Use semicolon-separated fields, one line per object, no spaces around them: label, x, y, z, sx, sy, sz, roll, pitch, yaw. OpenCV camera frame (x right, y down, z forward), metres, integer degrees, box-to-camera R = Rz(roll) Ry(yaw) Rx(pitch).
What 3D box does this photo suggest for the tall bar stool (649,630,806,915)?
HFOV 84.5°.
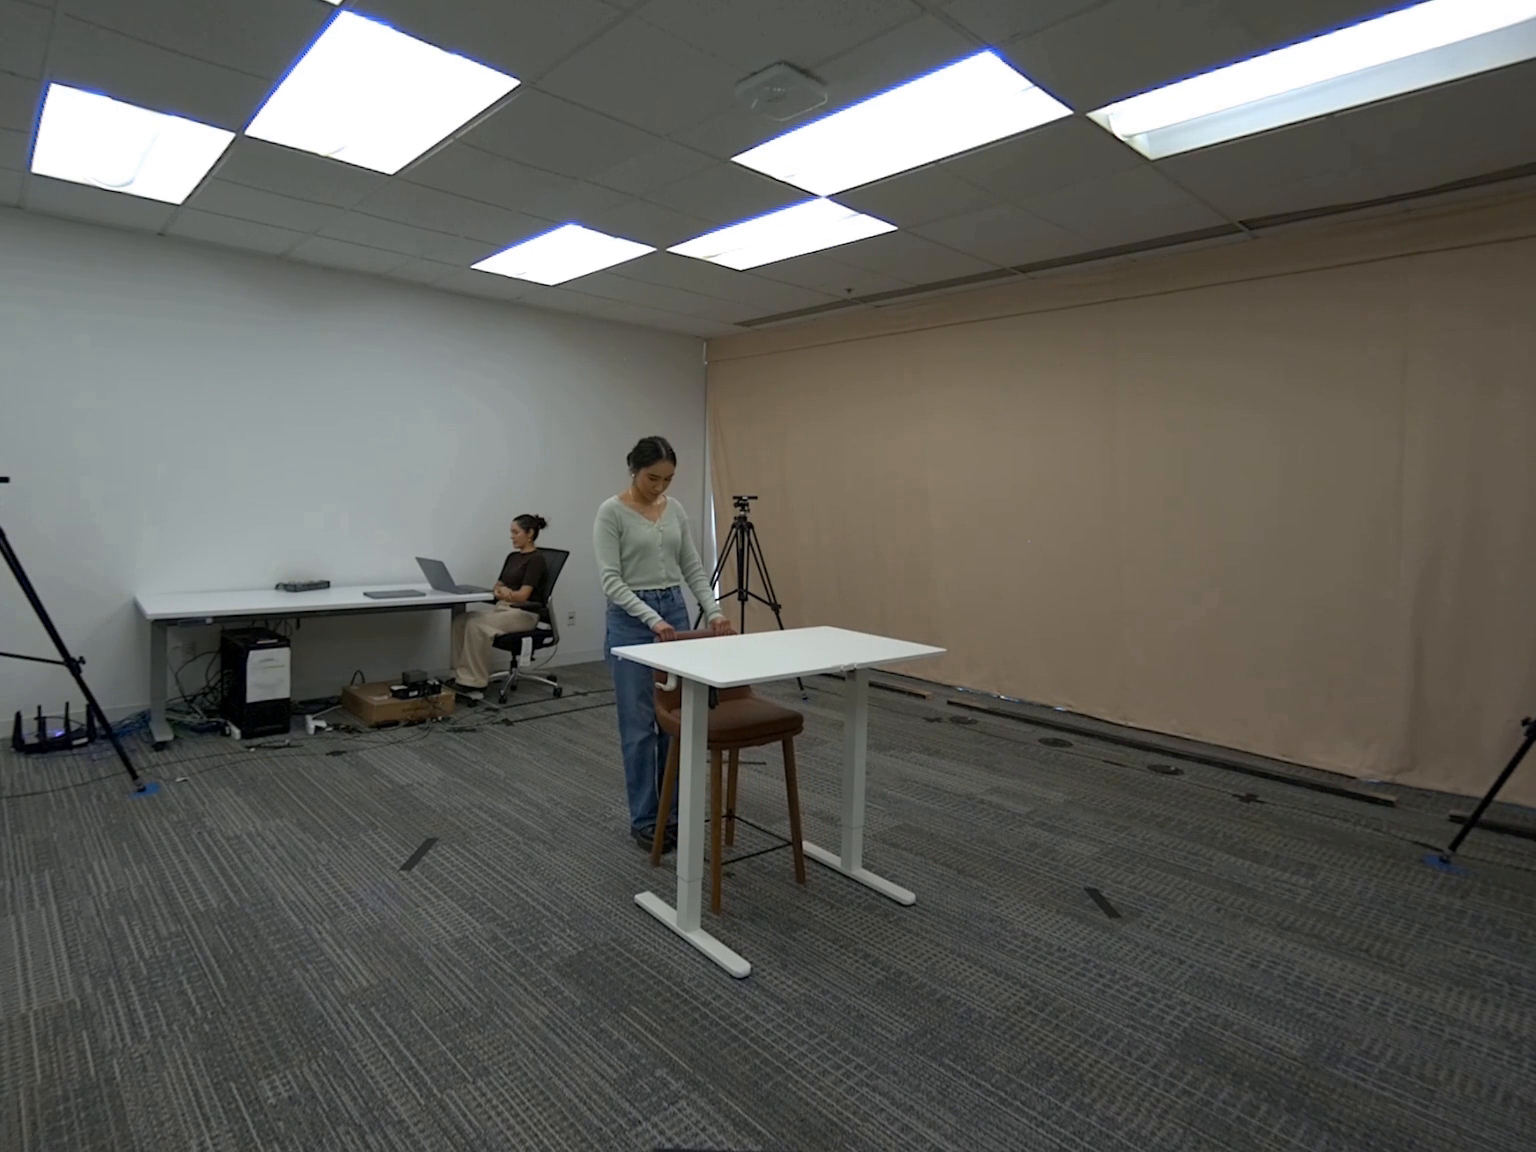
tall bar stool;-0.165;0.664;3.090;0.446;0.889;0.478;-2;2;-37
